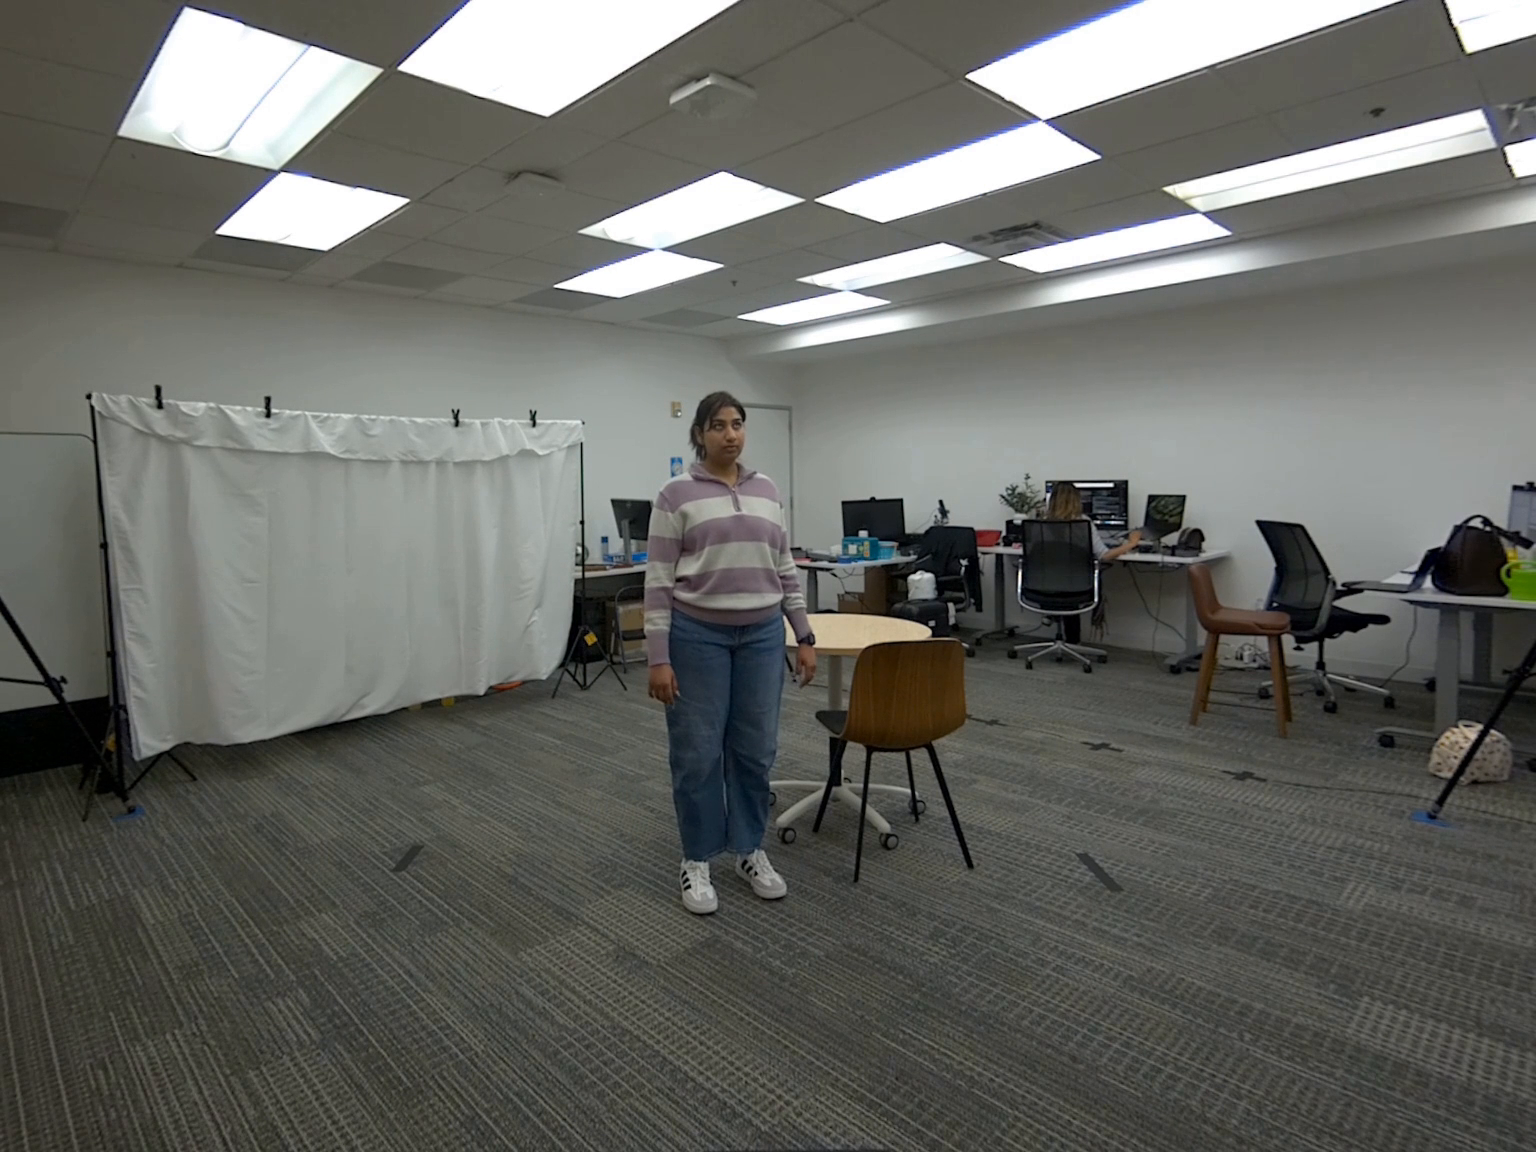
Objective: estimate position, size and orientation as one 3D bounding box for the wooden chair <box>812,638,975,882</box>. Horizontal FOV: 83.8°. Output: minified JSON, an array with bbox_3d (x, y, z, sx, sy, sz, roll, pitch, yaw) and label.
[{"bbox_3d":[0.446,0.602,3.193,0.472,0.871,0.534,-3,8,-14],"label":"wooden chair"}]
